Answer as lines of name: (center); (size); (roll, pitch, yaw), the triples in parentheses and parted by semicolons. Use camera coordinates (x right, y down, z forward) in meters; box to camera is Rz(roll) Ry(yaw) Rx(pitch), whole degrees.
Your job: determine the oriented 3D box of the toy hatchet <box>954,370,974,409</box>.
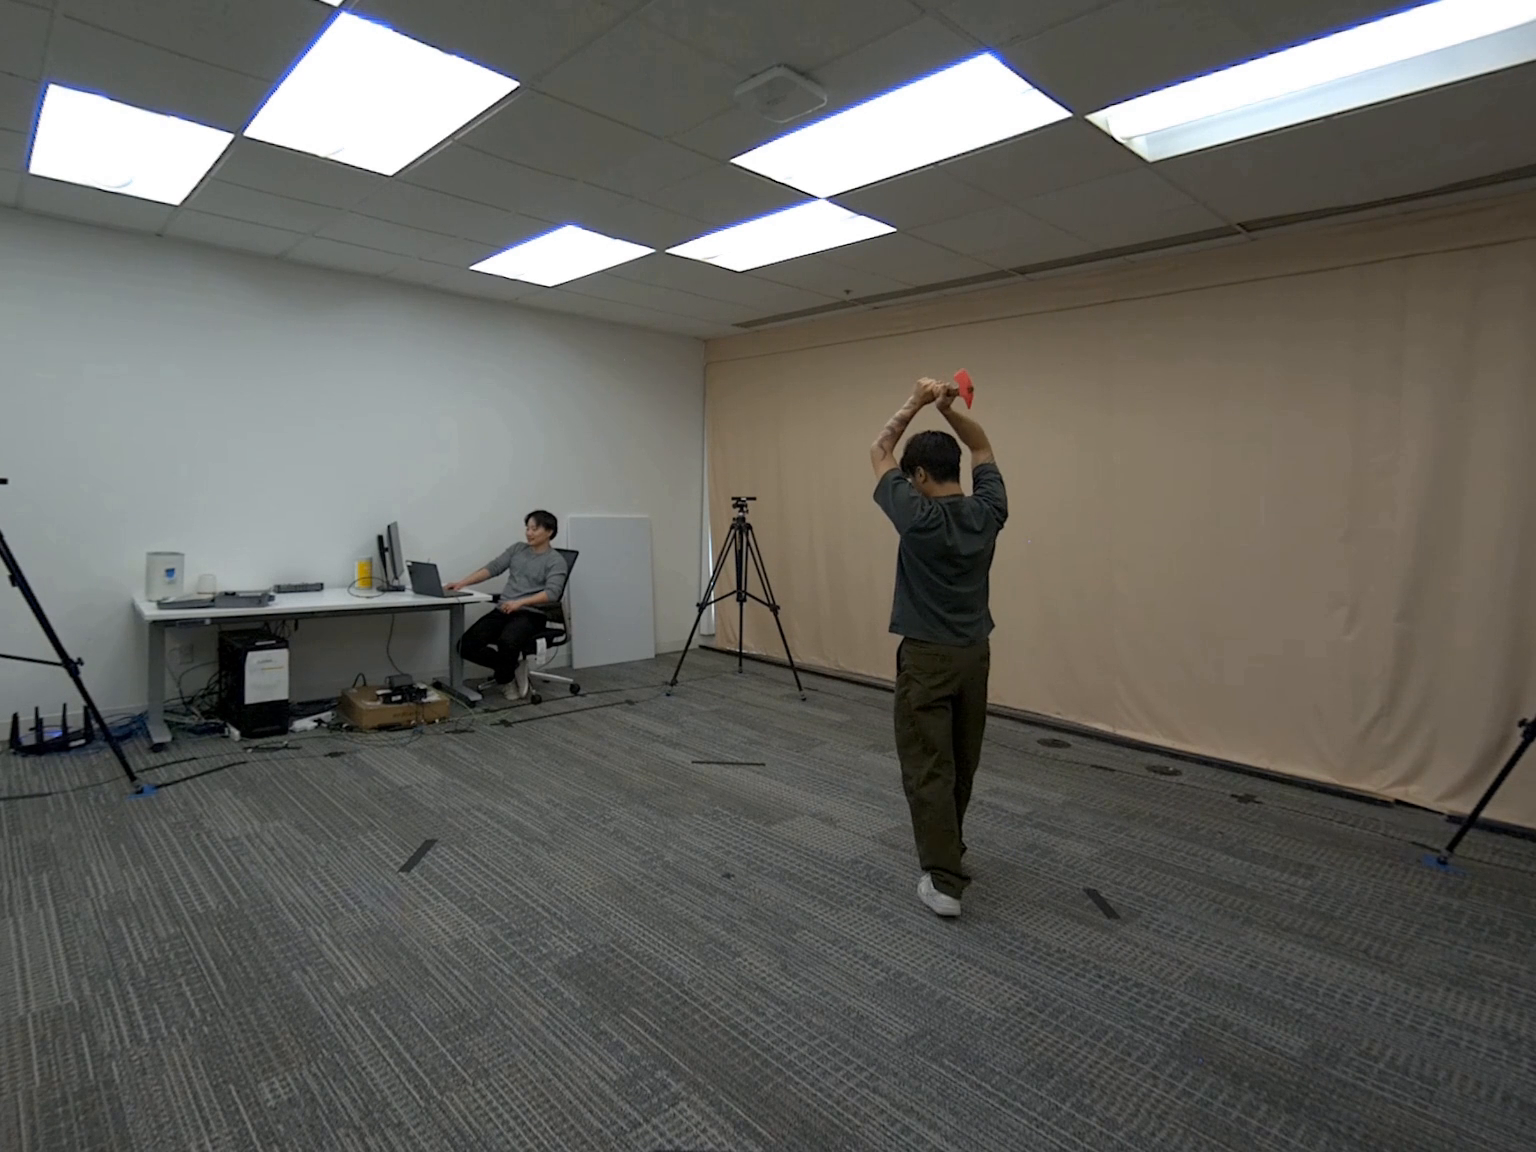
toy hatchet: (0.636, -0.684, 2.964); (0.029, 0.128, 0.277); (-11, 29, -13)
